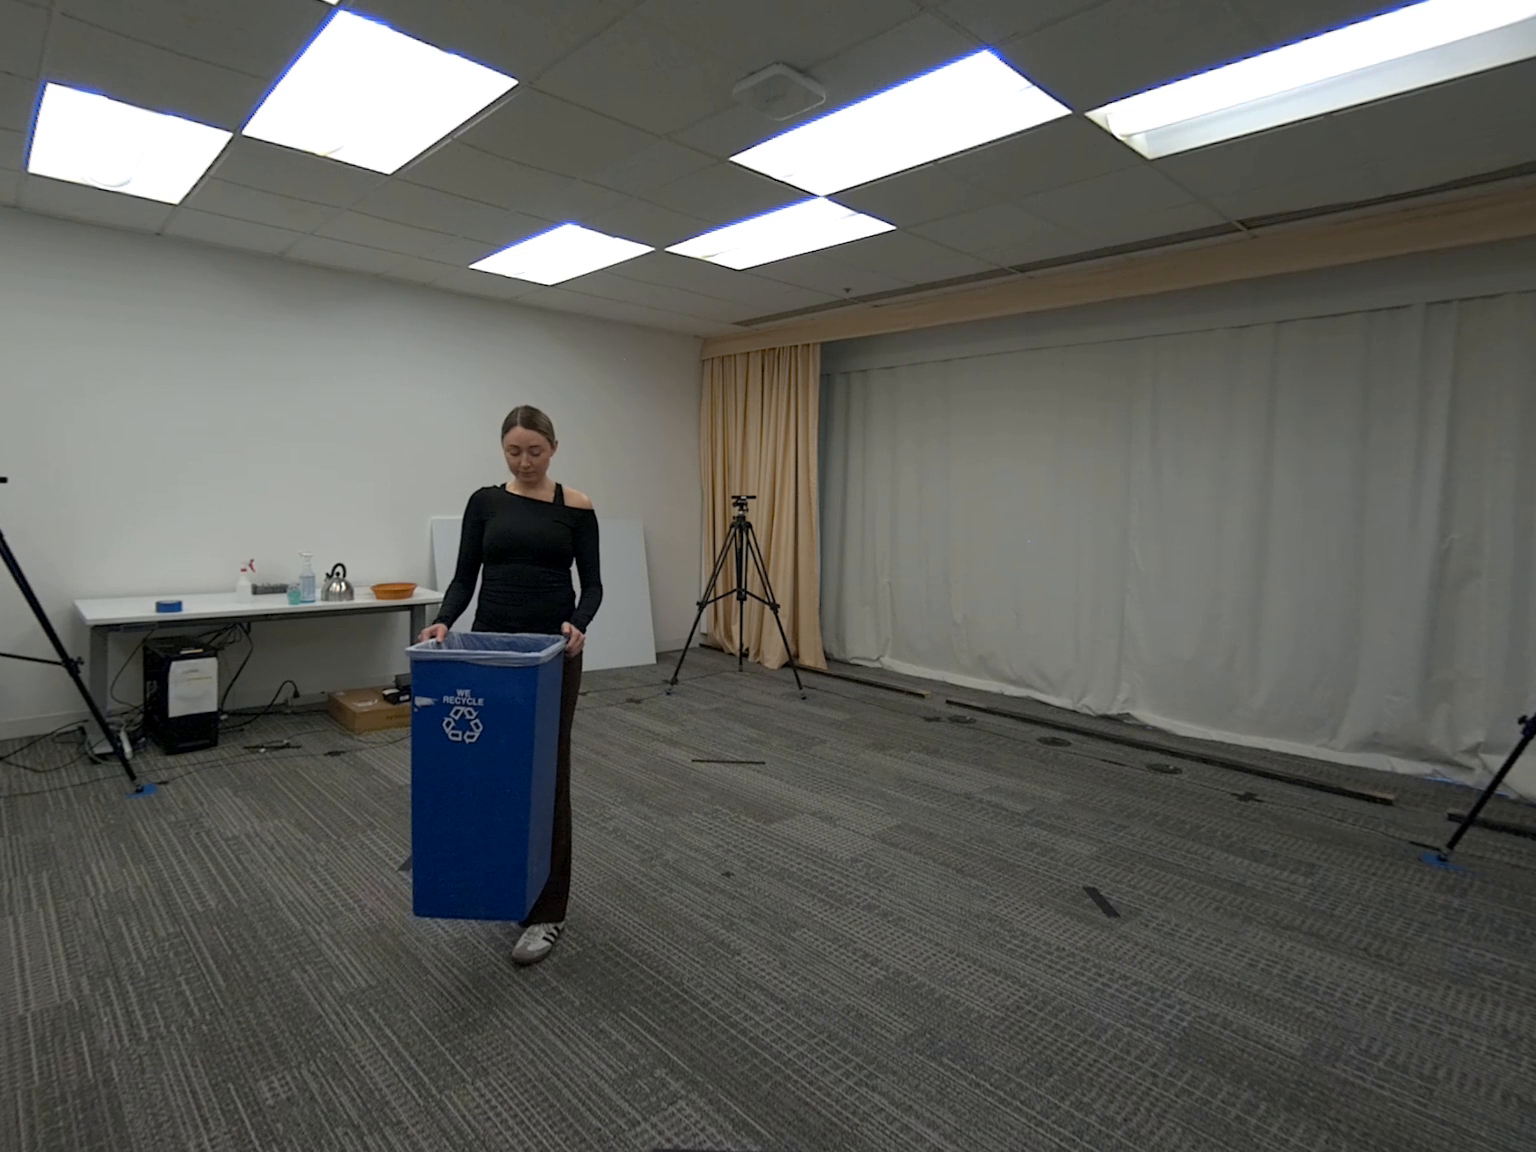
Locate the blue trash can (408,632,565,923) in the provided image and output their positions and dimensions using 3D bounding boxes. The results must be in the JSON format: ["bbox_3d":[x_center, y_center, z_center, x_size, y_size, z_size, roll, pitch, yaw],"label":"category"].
[{"bbox_3d":[-0.793,0.549,2.345,0.374,0.712,0.379,1,2,-1],"label":"blue trash can"}]
